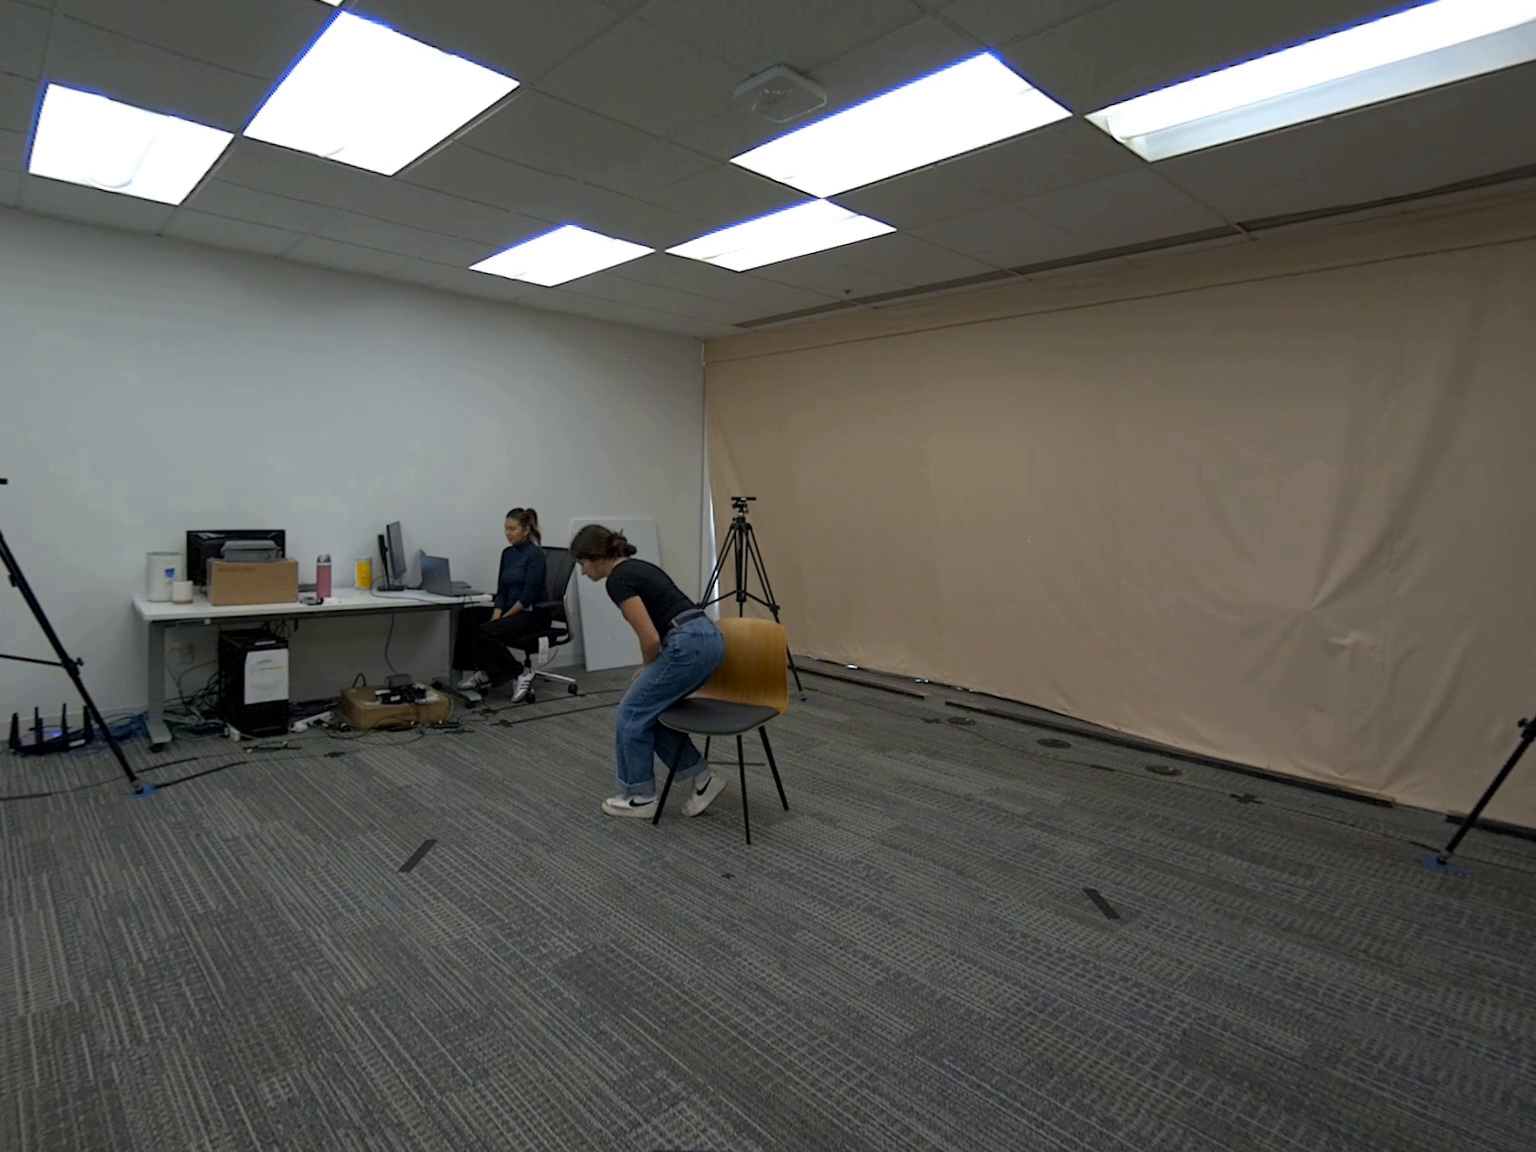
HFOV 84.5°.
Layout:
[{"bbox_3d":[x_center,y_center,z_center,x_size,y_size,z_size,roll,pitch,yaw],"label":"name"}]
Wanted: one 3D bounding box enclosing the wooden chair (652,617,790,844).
[{"bbox_3d":[-0.189,0.635,3.647,0.487,0.878,0.513,2,-1,23],"label":"wooden chair"}]
